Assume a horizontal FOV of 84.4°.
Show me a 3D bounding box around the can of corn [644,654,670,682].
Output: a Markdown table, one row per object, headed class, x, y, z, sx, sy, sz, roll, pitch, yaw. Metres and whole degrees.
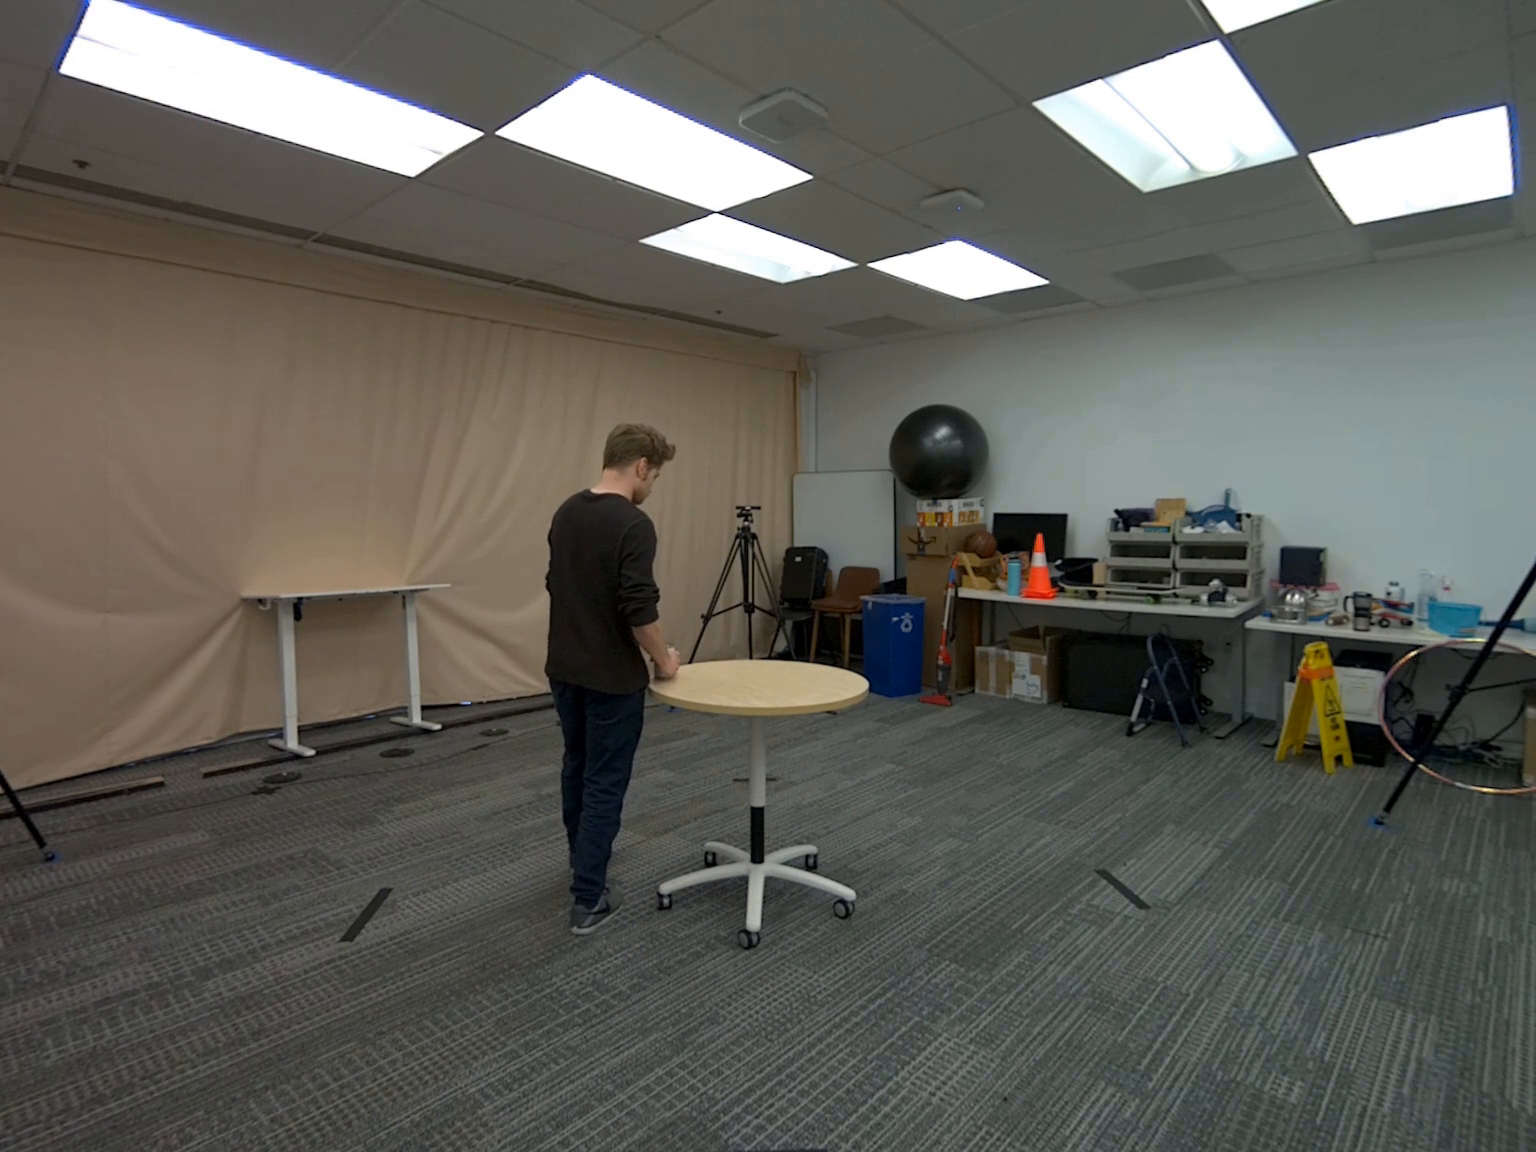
| class | x | y | z | sx | sy | sz | roll | pitch | yaw |
| --- | --- | --- | --- | --- | --- | --- | --- | --- | --- |
| can of corn | -0.369 | 0.306 | 2.970 | 0.074 | 0.110 | 0.075 | 3 | 8 | -2 |
